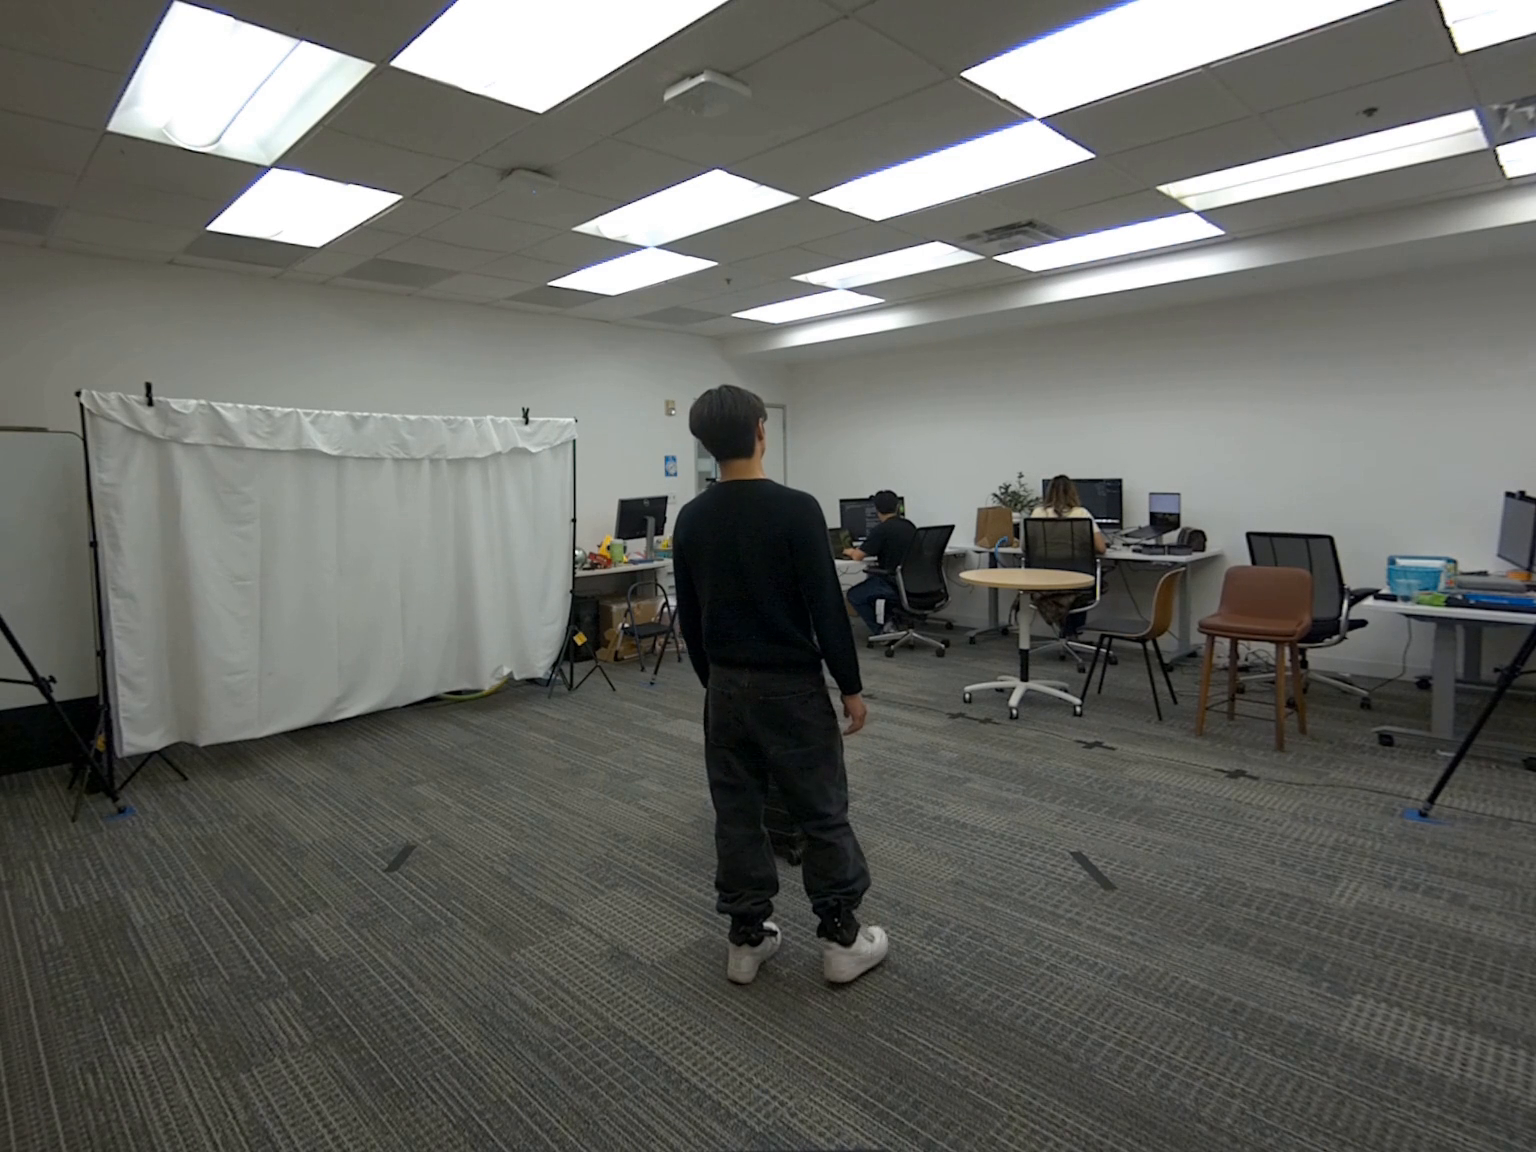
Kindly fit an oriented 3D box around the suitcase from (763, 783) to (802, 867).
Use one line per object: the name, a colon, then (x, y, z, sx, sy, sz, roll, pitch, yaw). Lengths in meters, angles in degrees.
suitcase: (0.029, 0.748, 3.265, 0.386, 0.548, 0.242, 1, 4, 37)
